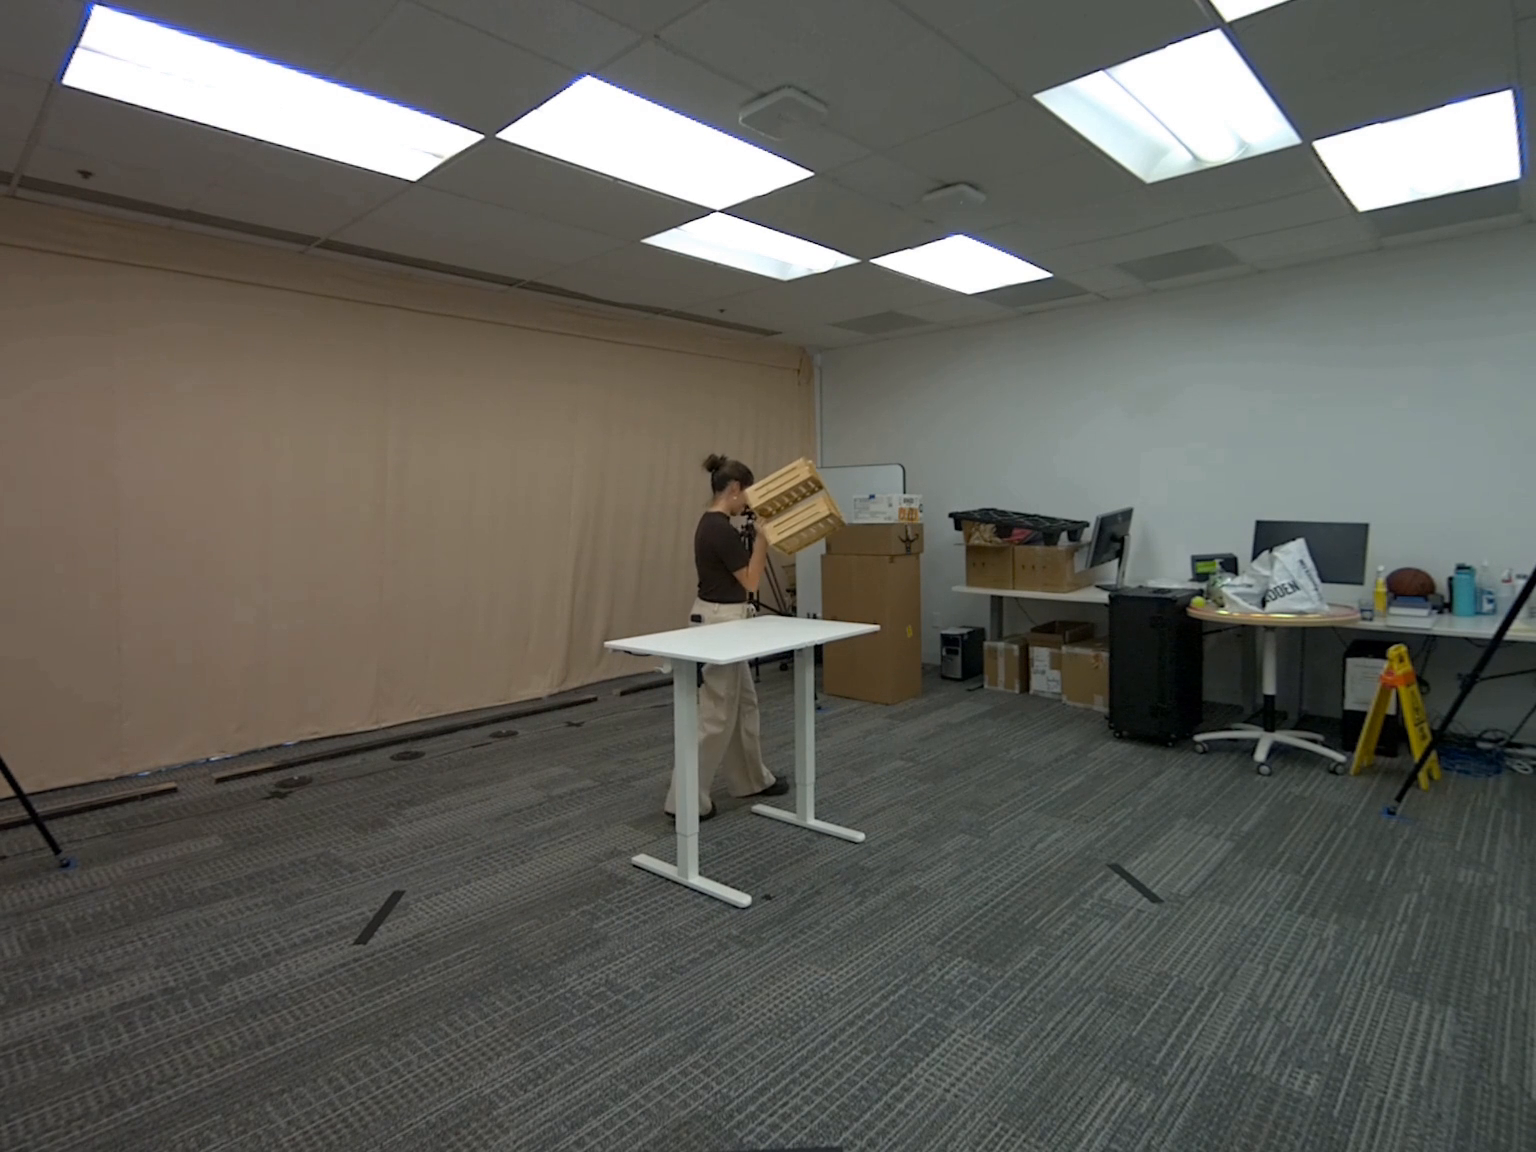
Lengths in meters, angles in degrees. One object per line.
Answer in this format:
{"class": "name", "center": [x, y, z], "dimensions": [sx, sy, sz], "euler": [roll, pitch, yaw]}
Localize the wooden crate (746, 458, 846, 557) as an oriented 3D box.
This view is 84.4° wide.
{"class": "wooden crate", "center": [0.124, -0.296, 3.649], "dimensions": [0.328, 0.279, 0.293], "euler": [-28, -21, 15]}
